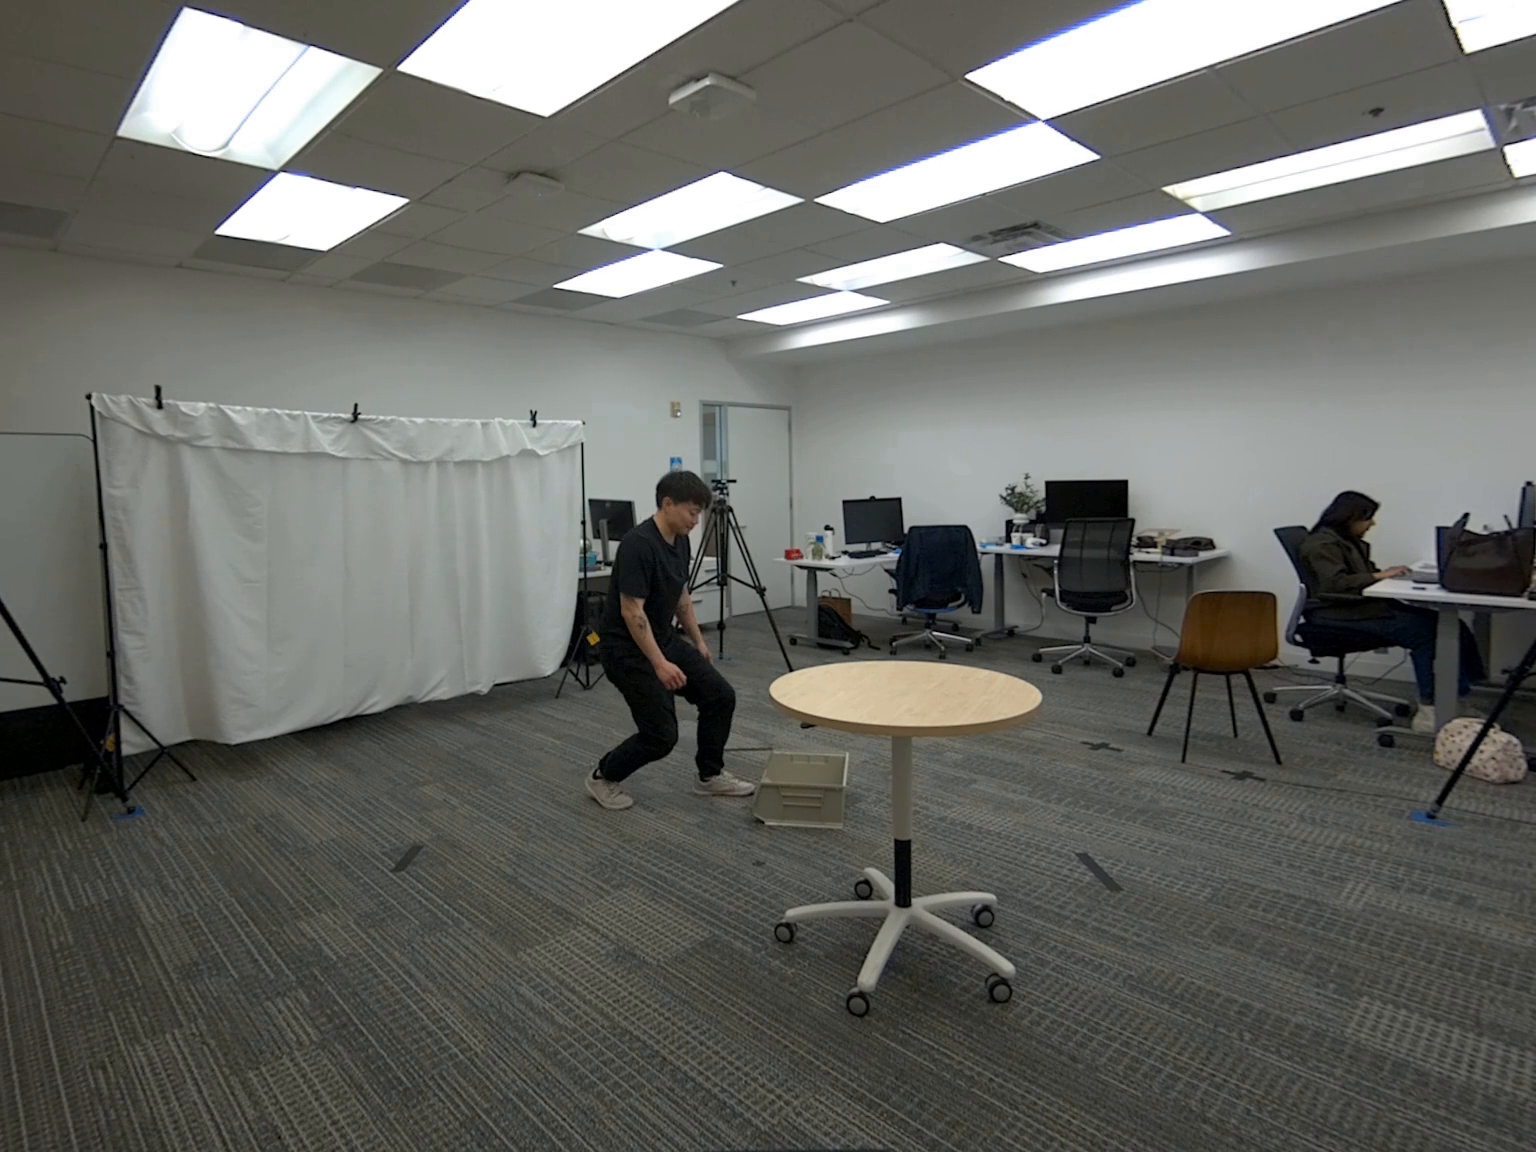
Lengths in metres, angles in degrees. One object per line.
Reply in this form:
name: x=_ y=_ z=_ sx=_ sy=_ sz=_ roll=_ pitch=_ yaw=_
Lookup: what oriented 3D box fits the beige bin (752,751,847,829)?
beige bin: x=0.150 y=0.899 z=3.631 sx=0.381 sy=0.188 sz=0.420 roll=0 pitch=6 yaw=8
